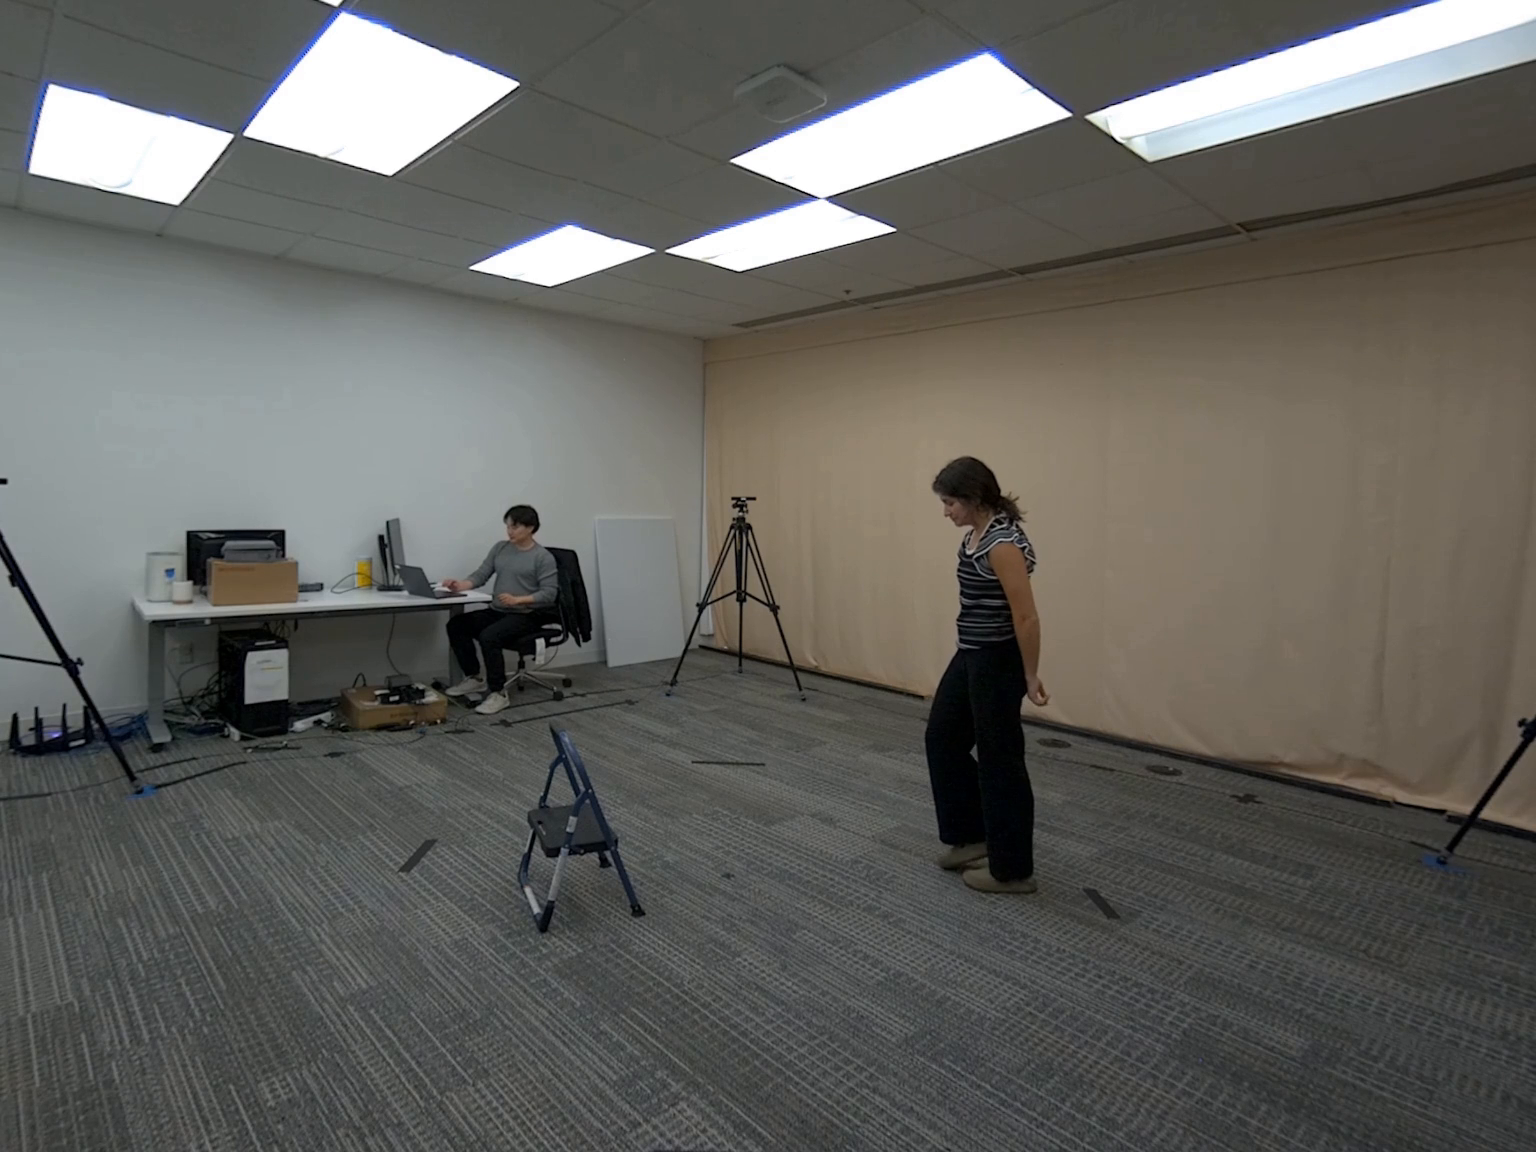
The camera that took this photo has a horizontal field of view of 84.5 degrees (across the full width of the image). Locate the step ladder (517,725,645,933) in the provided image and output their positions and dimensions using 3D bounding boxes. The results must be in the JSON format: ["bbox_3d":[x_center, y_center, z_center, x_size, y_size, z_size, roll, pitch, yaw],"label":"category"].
[{"bbox_3d":[-0.659,0.812,2.899,0.343,0.604,0.440,-1,4,-26],"label":"step ladder"}]
